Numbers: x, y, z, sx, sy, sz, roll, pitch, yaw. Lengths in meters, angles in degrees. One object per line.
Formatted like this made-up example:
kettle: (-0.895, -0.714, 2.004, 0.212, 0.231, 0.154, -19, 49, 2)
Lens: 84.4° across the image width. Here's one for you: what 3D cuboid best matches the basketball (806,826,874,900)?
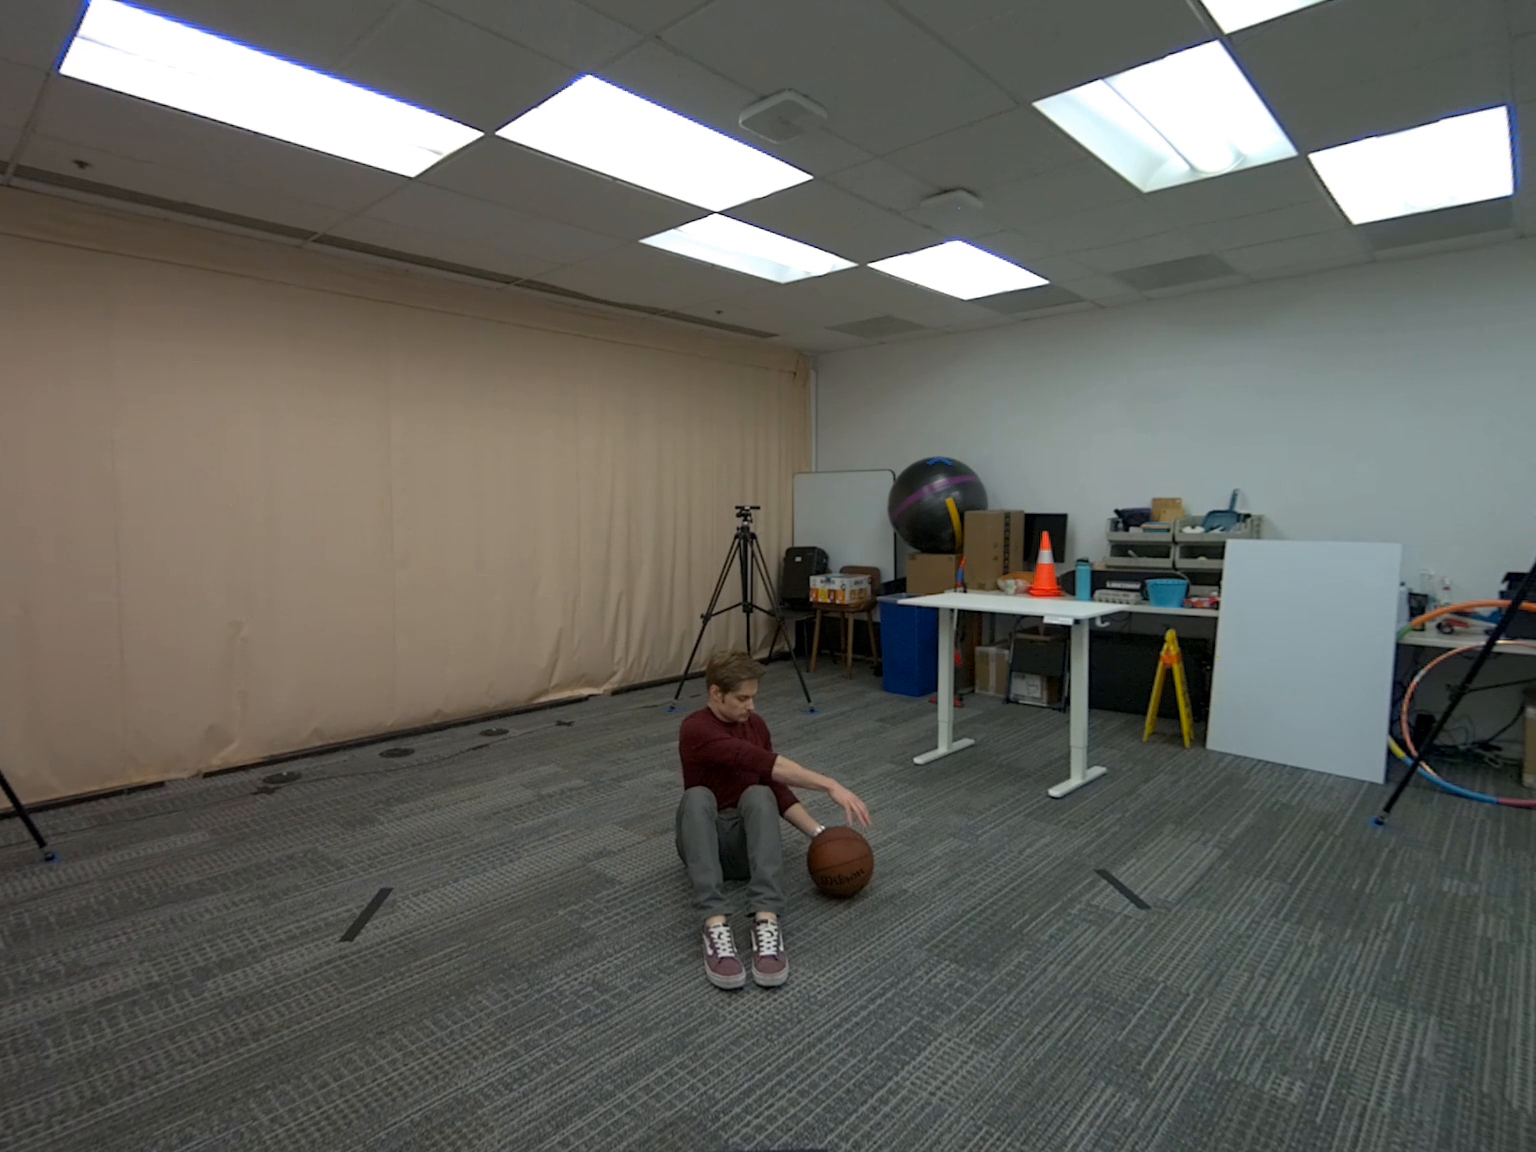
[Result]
basketball: (0.263, 1.022, 3.009, 0.236, 0.235, 0.237, 0, 4, -2)
